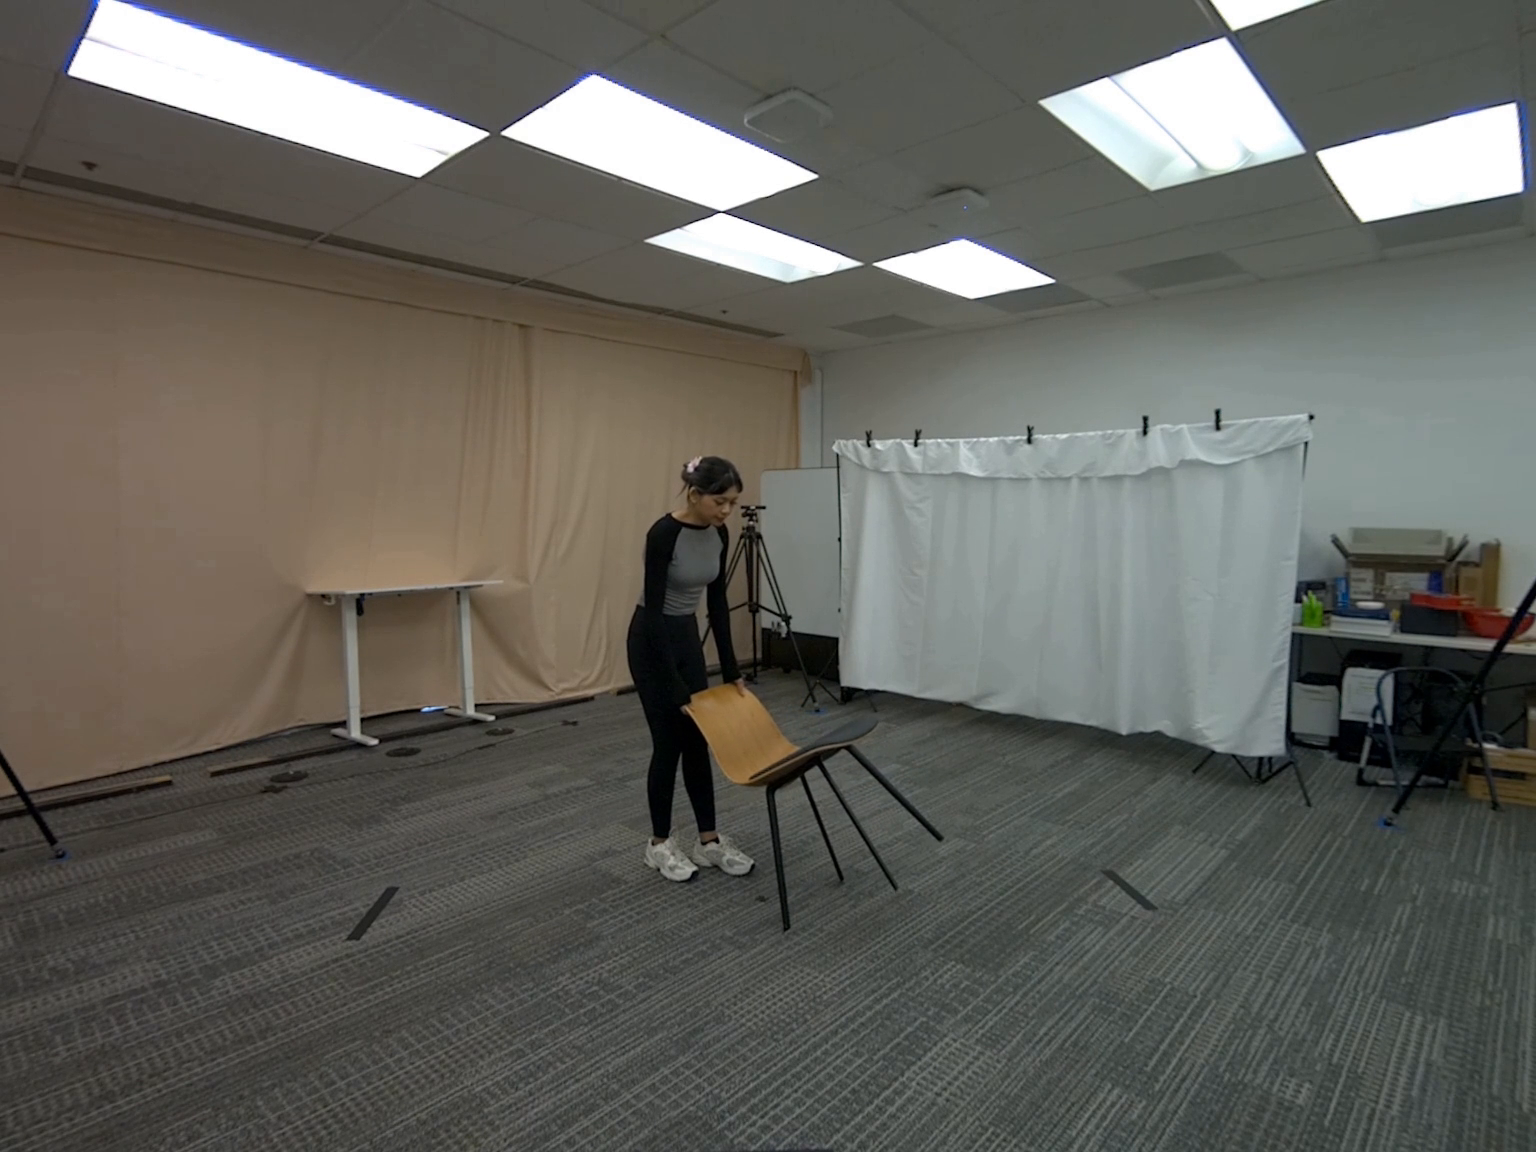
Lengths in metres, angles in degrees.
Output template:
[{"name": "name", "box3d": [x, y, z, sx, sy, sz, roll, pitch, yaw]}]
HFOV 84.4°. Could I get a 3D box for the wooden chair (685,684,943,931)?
[{"name": "wooden chair", "box3d": [0.148, 0.663, 2.920, 0.528, 0.893, 0.465, -40, -18, 28]}]
